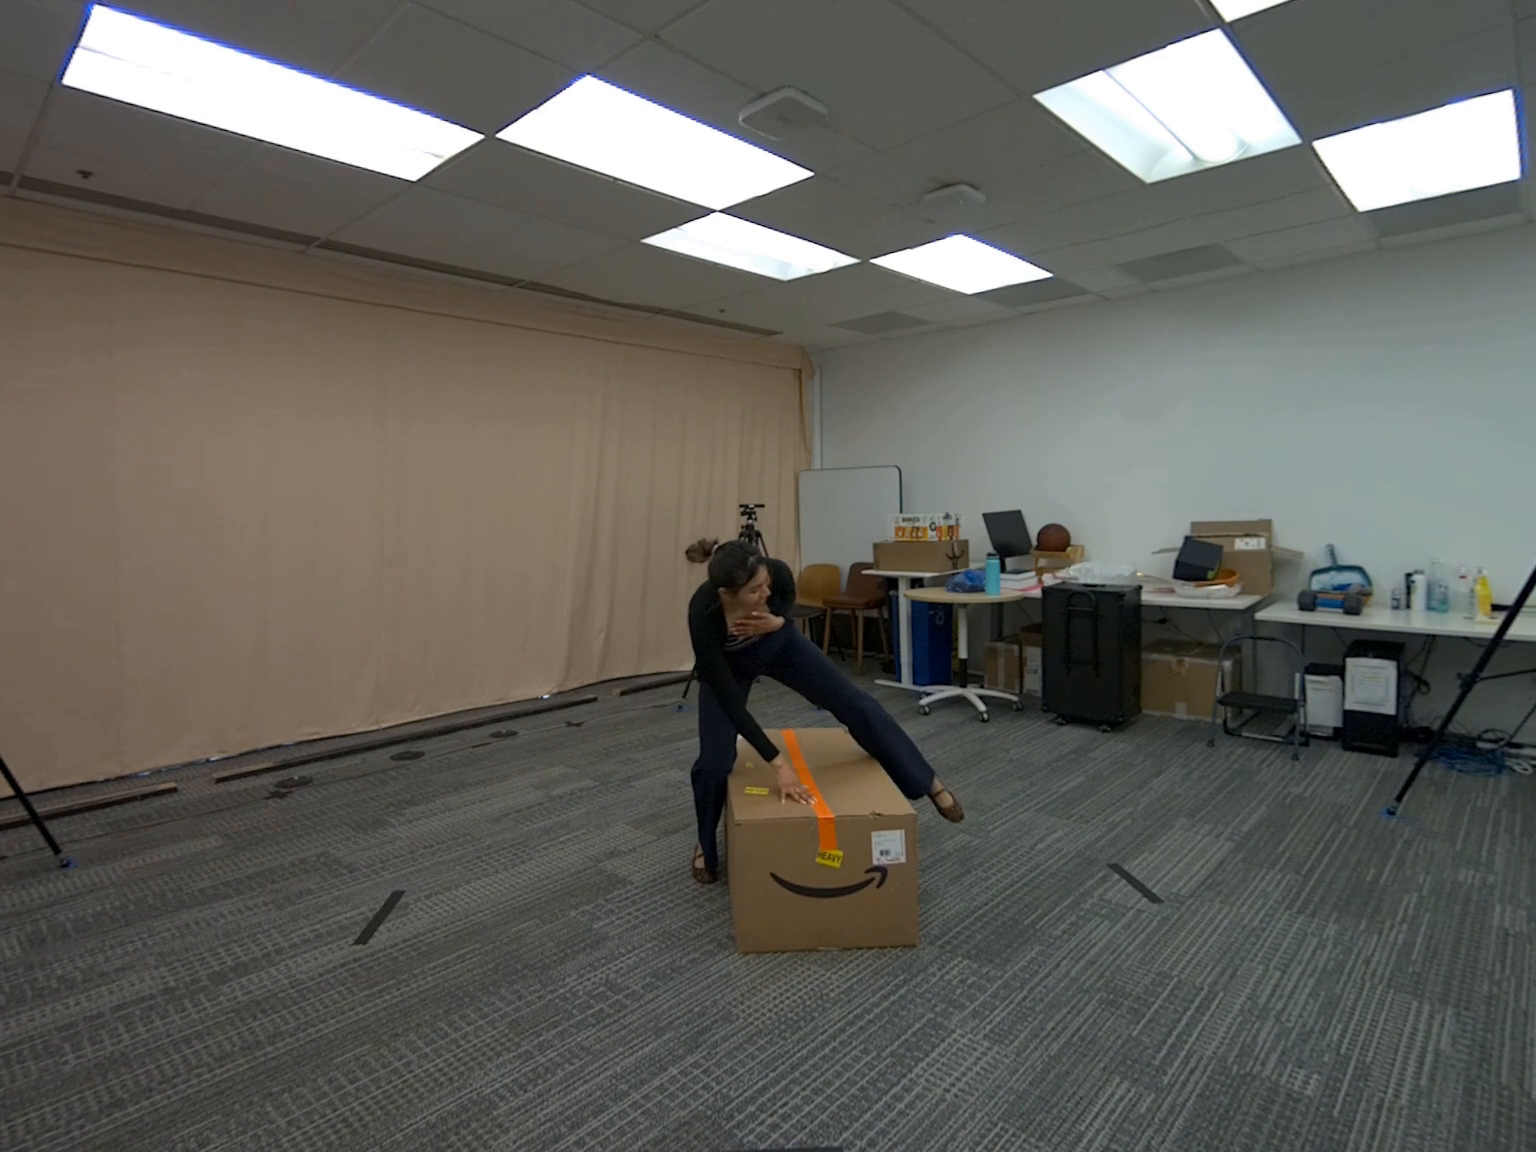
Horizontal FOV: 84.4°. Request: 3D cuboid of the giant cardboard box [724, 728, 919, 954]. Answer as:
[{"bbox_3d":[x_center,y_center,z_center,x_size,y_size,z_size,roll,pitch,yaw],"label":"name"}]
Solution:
[{"bbox_3d":[0.140,0.911,3.120,0.575,0.425,1.032,-2,5,-5],"label":"giant cardboard box"}]
